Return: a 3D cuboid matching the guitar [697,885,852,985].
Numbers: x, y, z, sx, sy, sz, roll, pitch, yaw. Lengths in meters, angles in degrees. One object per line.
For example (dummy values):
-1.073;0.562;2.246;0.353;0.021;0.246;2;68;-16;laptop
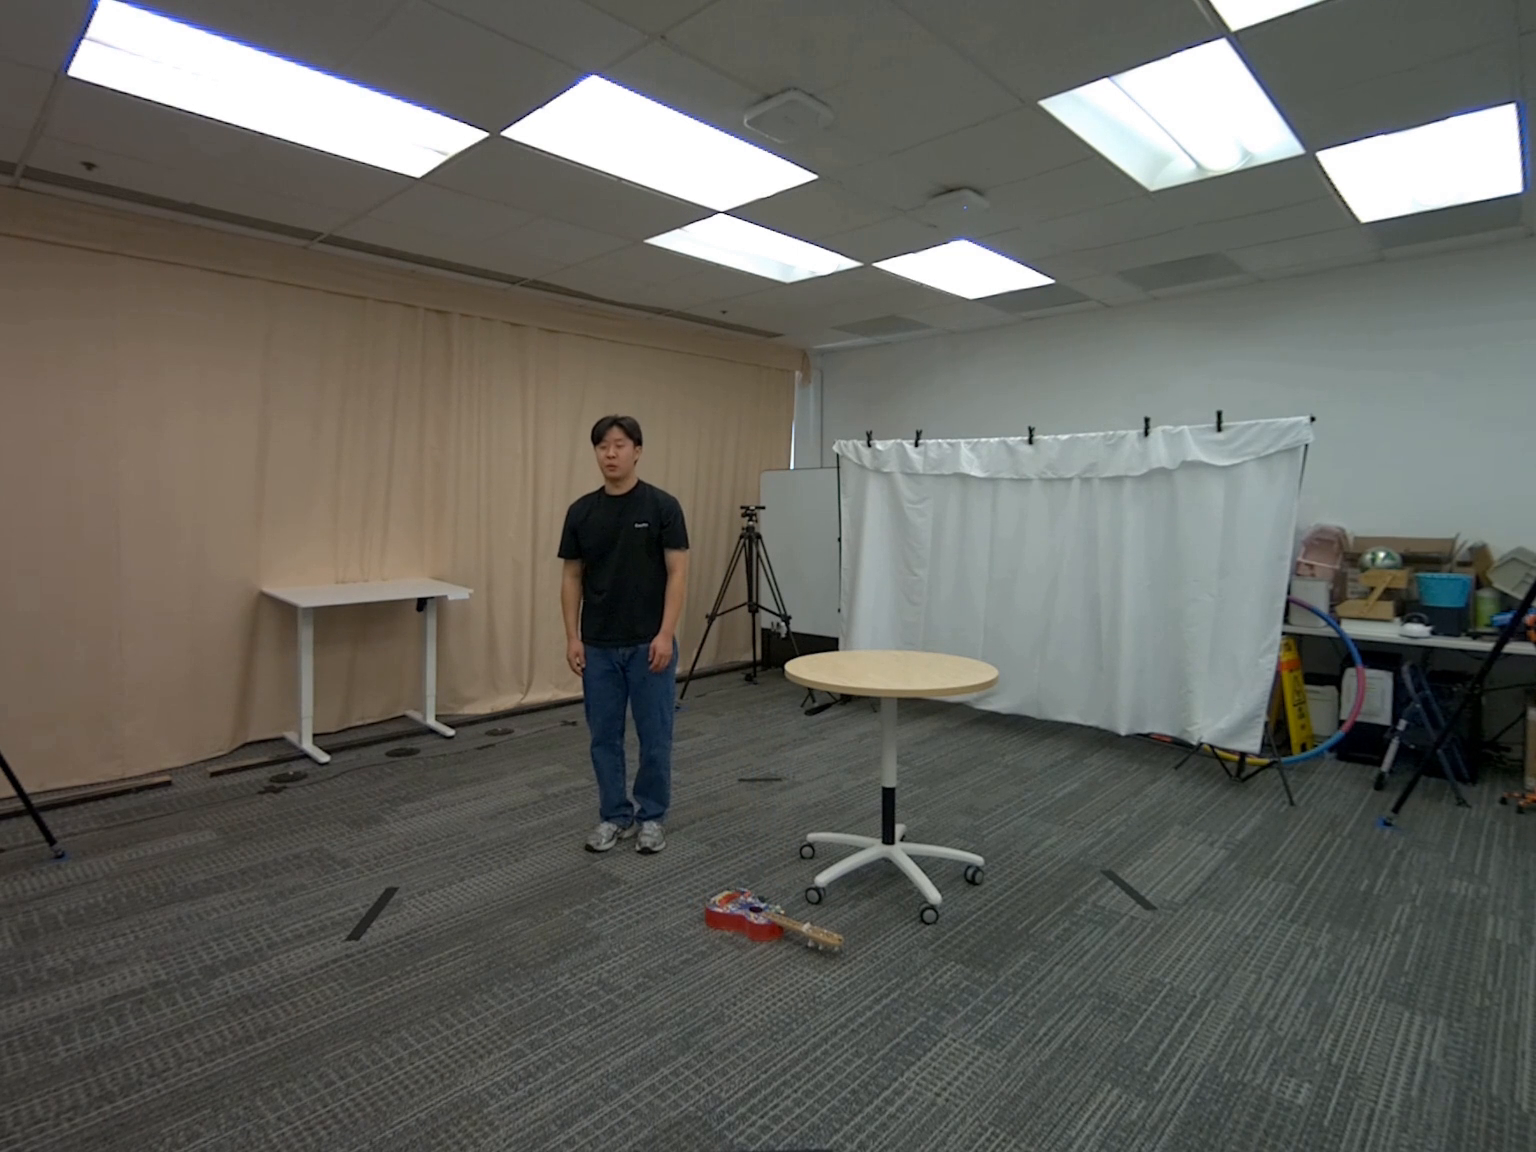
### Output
0.008;1.133;2.712;0.187;0.070;0.514;-4;6;-44;guitar
